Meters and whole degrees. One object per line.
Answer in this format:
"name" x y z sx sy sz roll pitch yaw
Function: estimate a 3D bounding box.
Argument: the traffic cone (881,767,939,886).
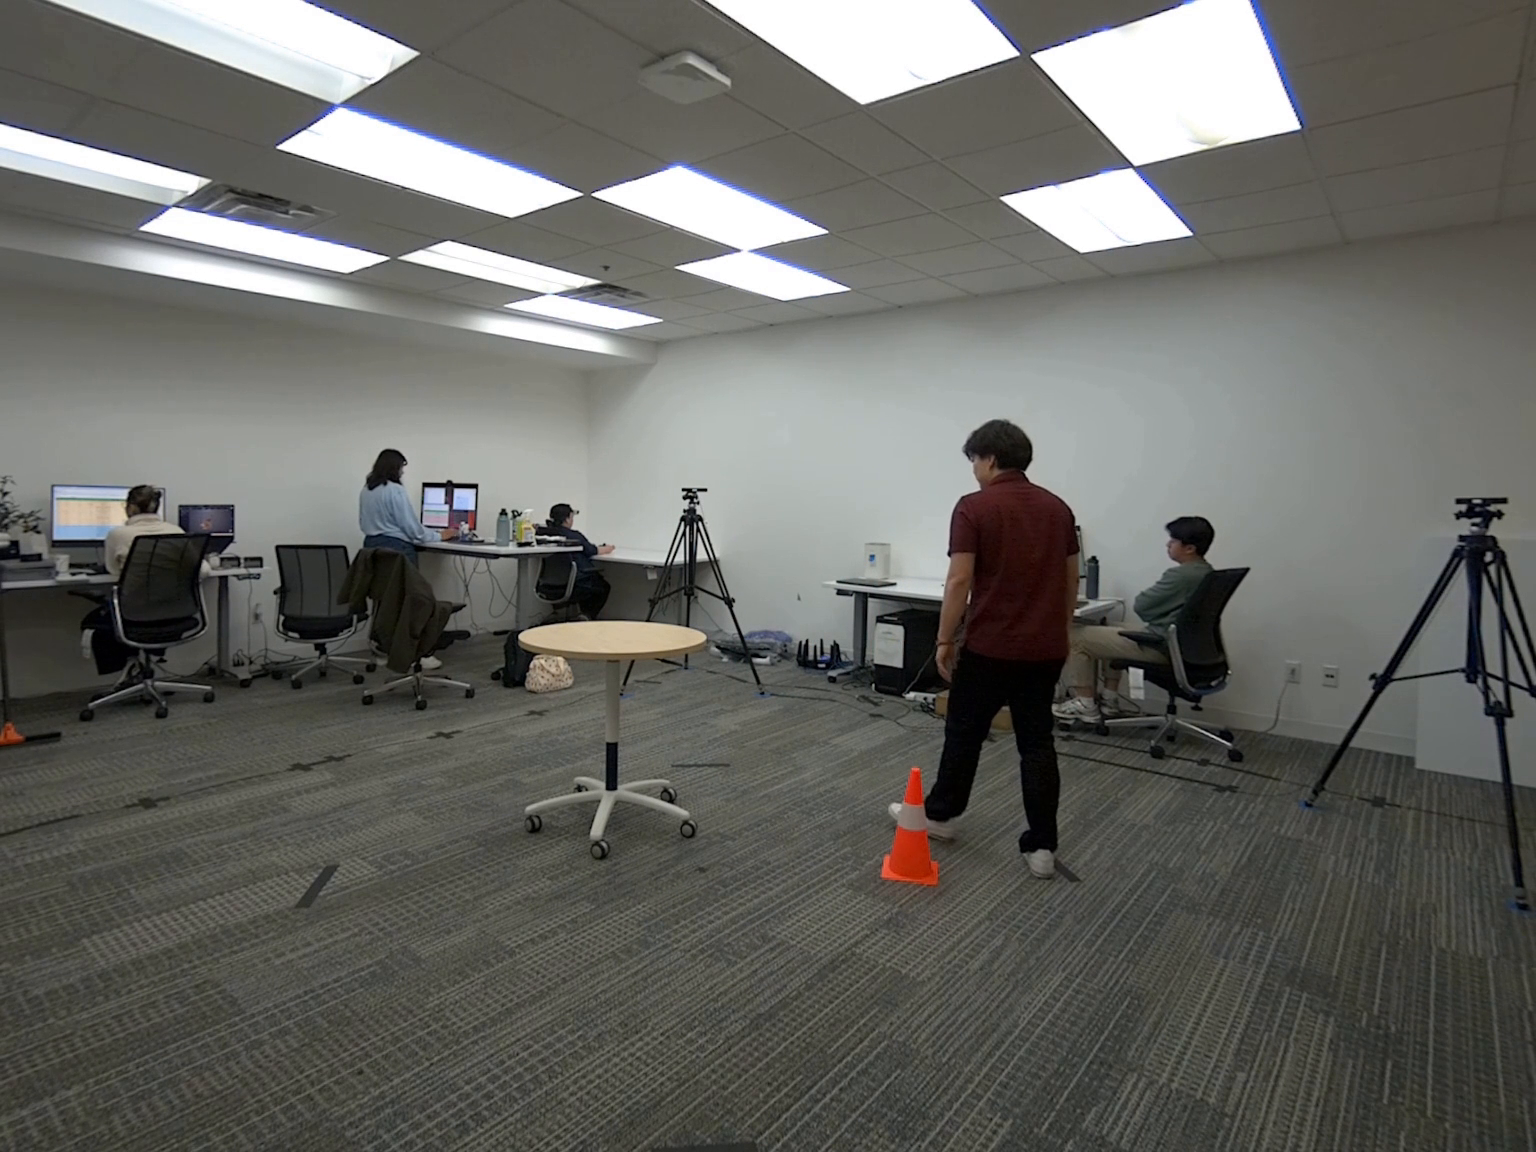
"traffic cone" 0.531 0.896 3.143 0.207 0.382 0.202 4 5 18
